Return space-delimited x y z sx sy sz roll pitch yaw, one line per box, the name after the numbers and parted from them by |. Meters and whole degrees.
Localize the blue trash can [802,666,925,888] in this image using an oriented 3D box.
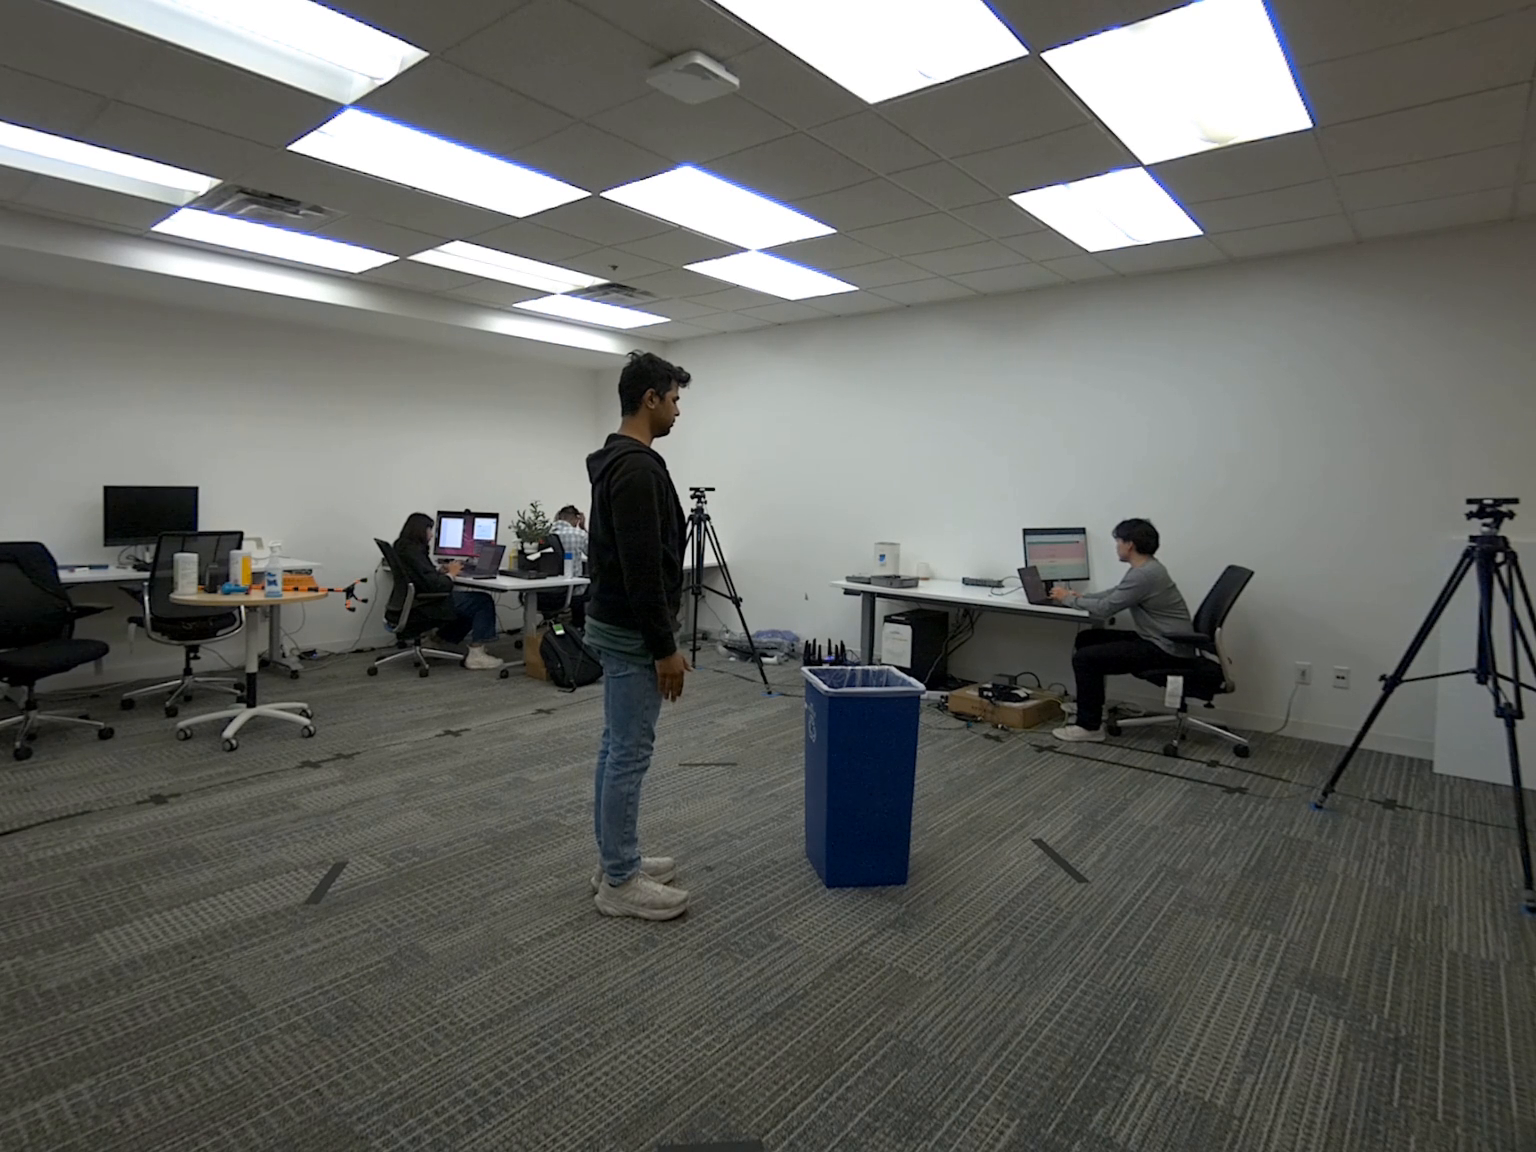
0.319 0.722 3.117 0.370 0.711 0.384 1 4 -12 | blue trash can
